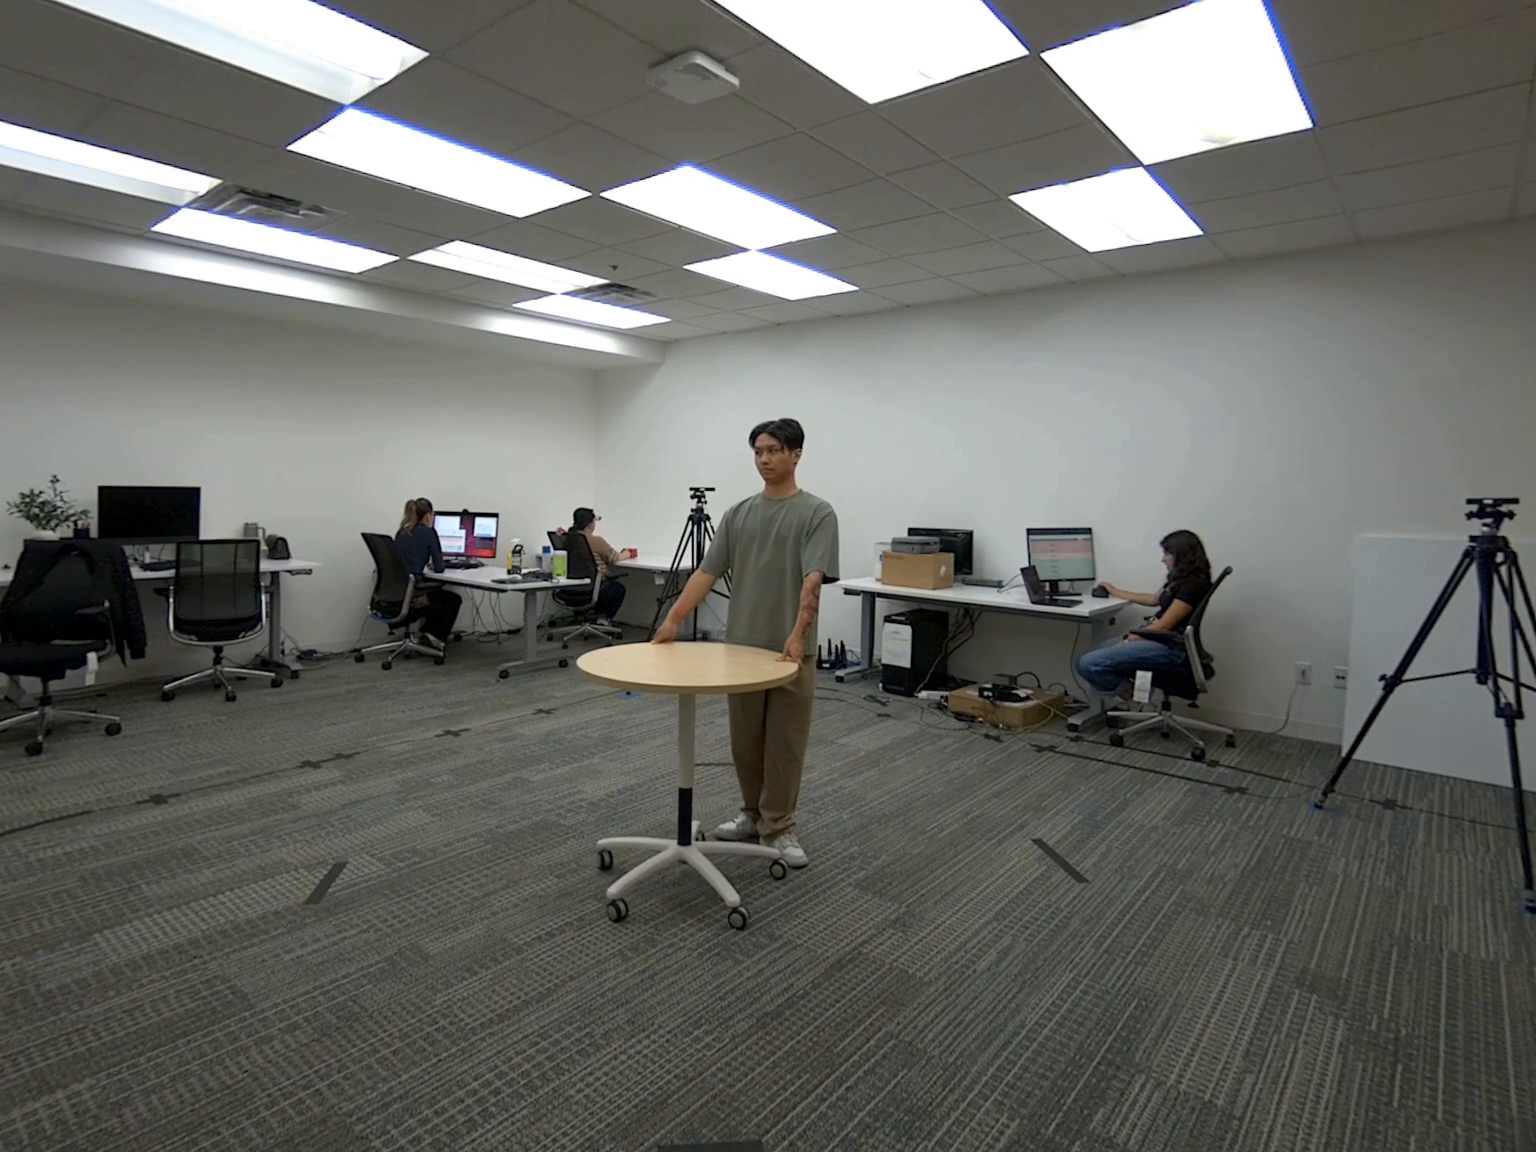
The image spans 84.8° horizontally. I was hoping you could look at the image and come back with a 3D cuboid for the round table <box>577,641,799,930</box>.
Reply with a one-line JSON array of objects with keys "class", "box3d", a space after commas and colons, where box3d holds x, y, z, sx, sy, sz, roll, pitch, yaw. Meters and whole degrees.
[{"class": "round table", "box3d": [-0.308, 0.684, 2.957, 0.784, 0.784, 0.789, 1, 4, -2]}]
